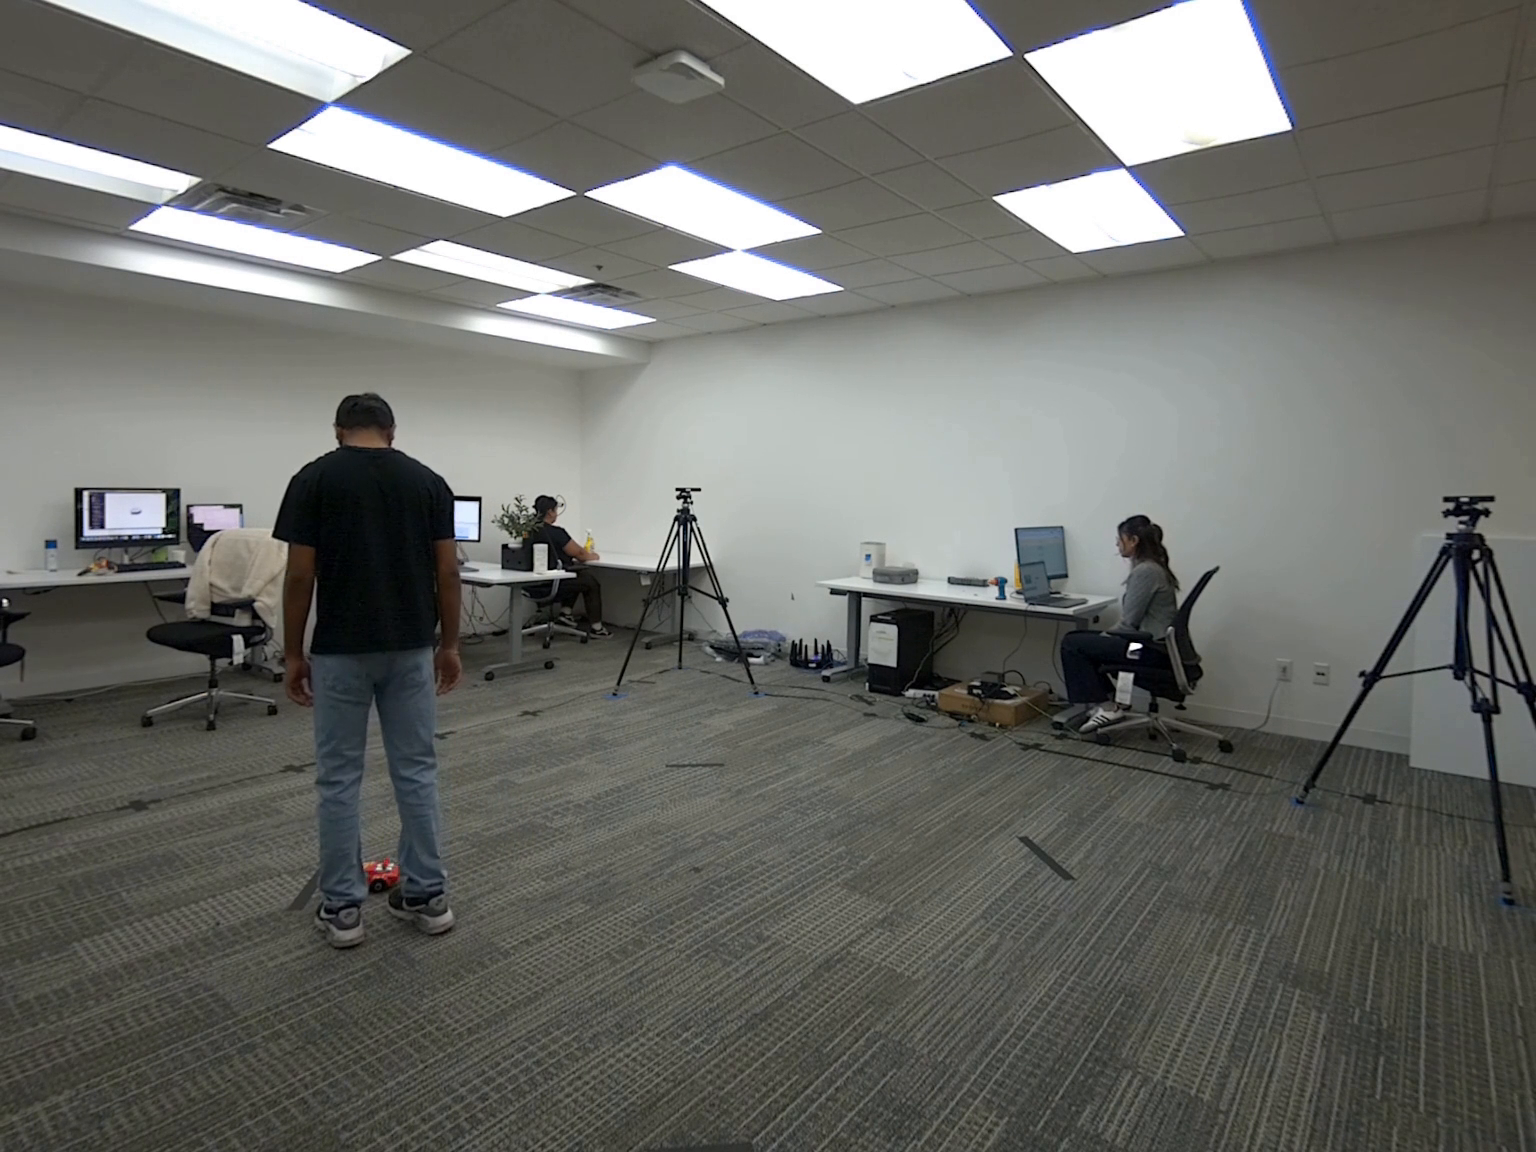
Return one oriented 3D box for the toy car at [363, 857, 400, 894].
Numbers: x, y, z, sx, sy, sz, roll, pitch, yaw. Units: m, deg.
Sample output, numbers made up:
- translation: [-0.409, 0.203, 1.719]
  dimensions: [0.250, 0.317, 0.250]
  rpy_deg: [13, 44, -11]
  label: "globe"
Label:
- translation: [-1.399, 1.041, 2.937]
  dimensions: [0.253, 0.083, 0.132]
  rpy_deg: [-11, 5, -8]
  label: "toy car"
